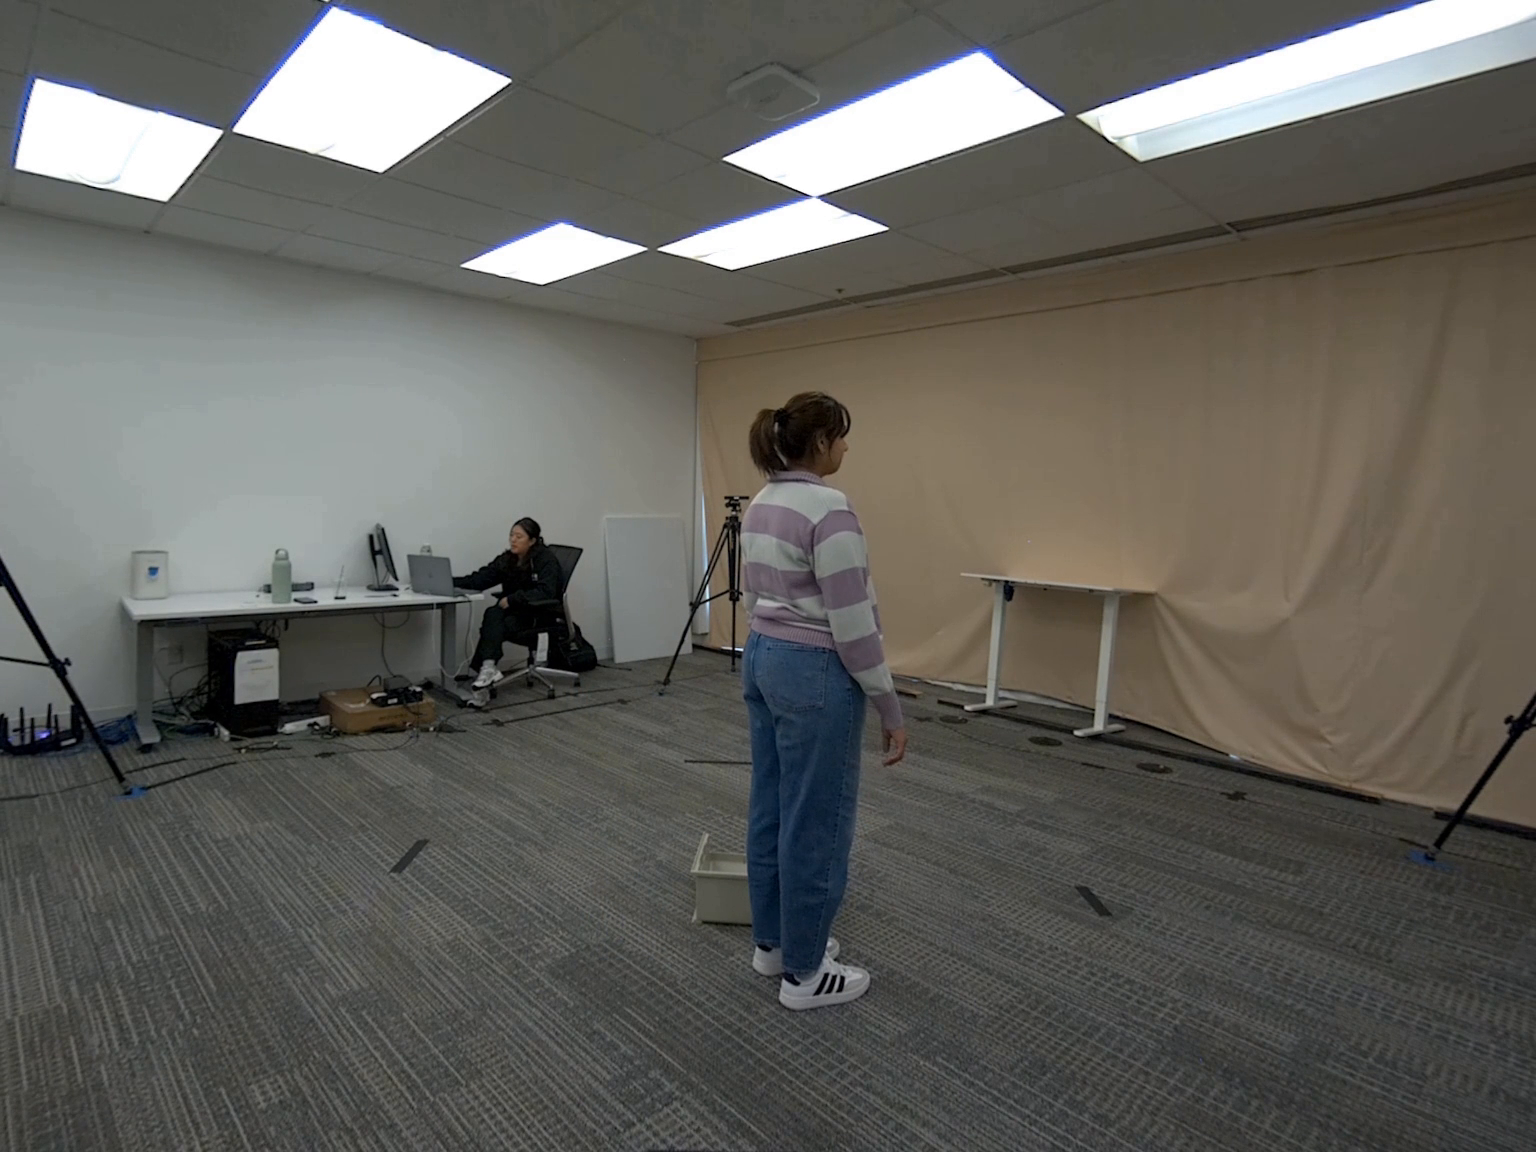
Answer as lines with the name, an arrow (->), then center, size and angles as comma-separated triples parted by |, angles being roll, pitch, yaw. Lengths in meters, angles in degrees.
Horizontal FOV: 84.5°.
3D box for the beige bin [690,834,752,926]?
beige bin -> -0.037, 1.033, 2.892 | 0.424, 0.188, 0.377 | 1, 6, 5
